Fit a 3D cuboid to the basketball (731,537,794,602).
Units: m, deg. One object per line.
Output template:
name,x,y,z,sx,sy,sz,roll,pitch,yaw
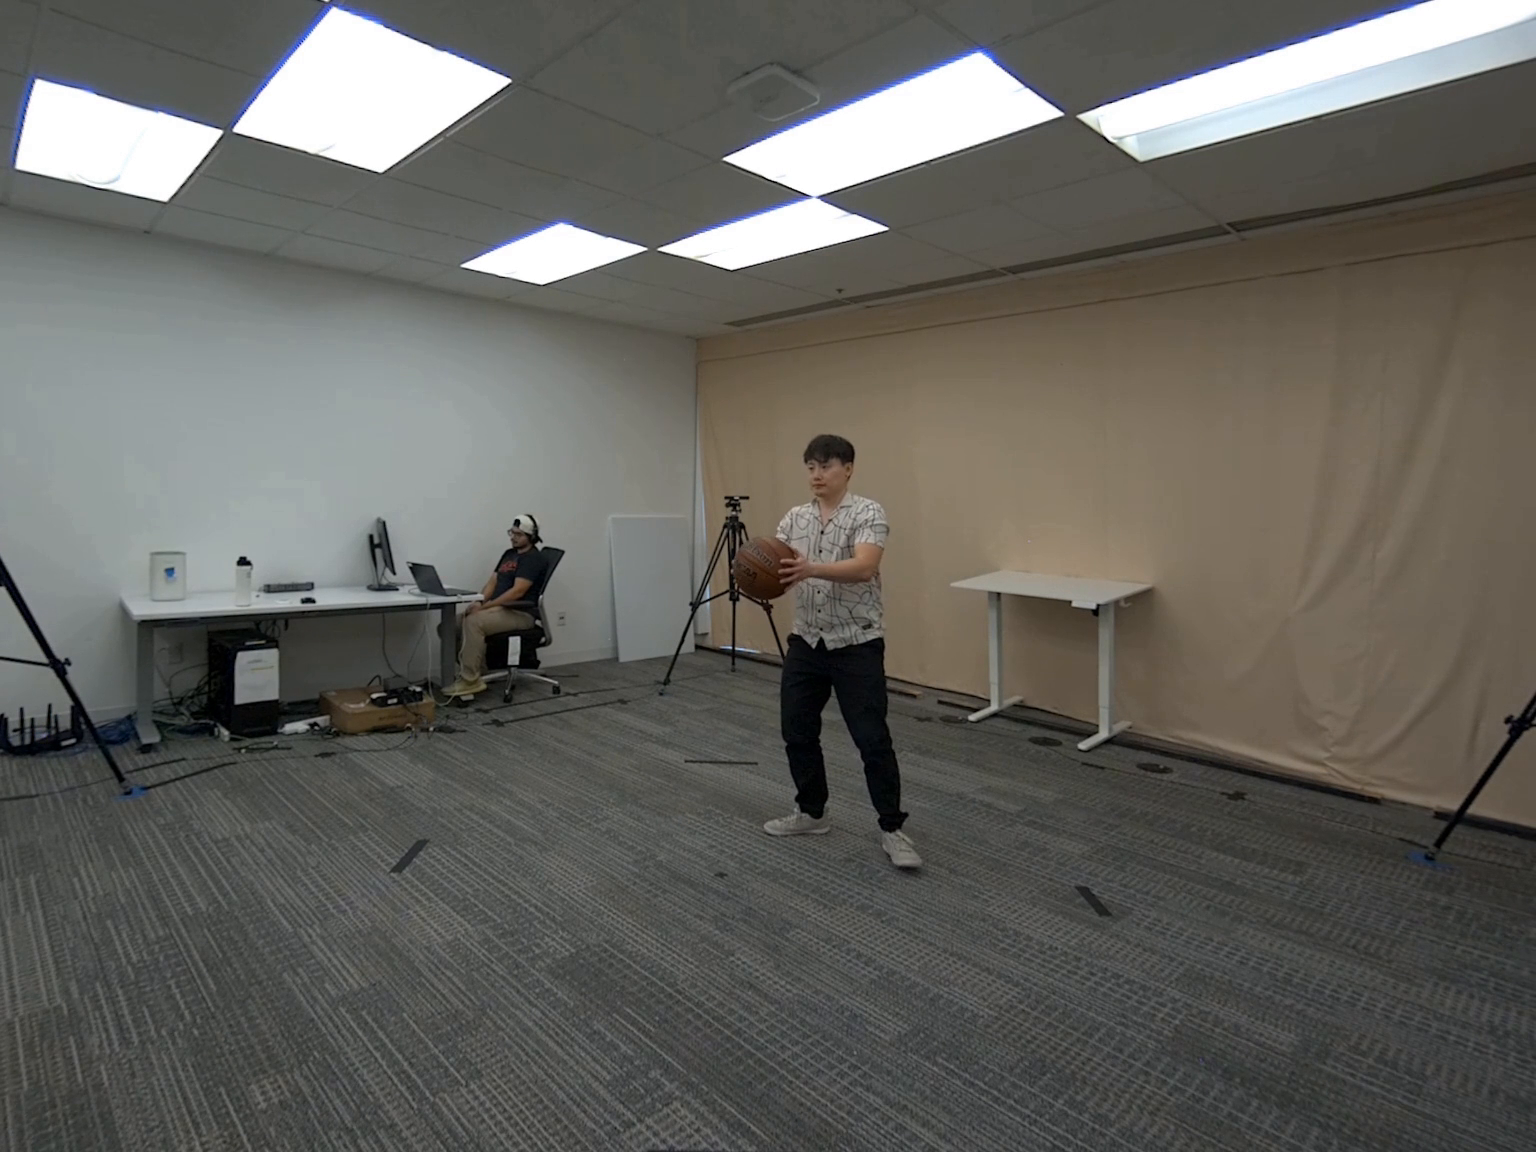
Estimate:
basketball,-0.023,-0.028,3.122,0.236,0.235,0.237,1,4,-1
